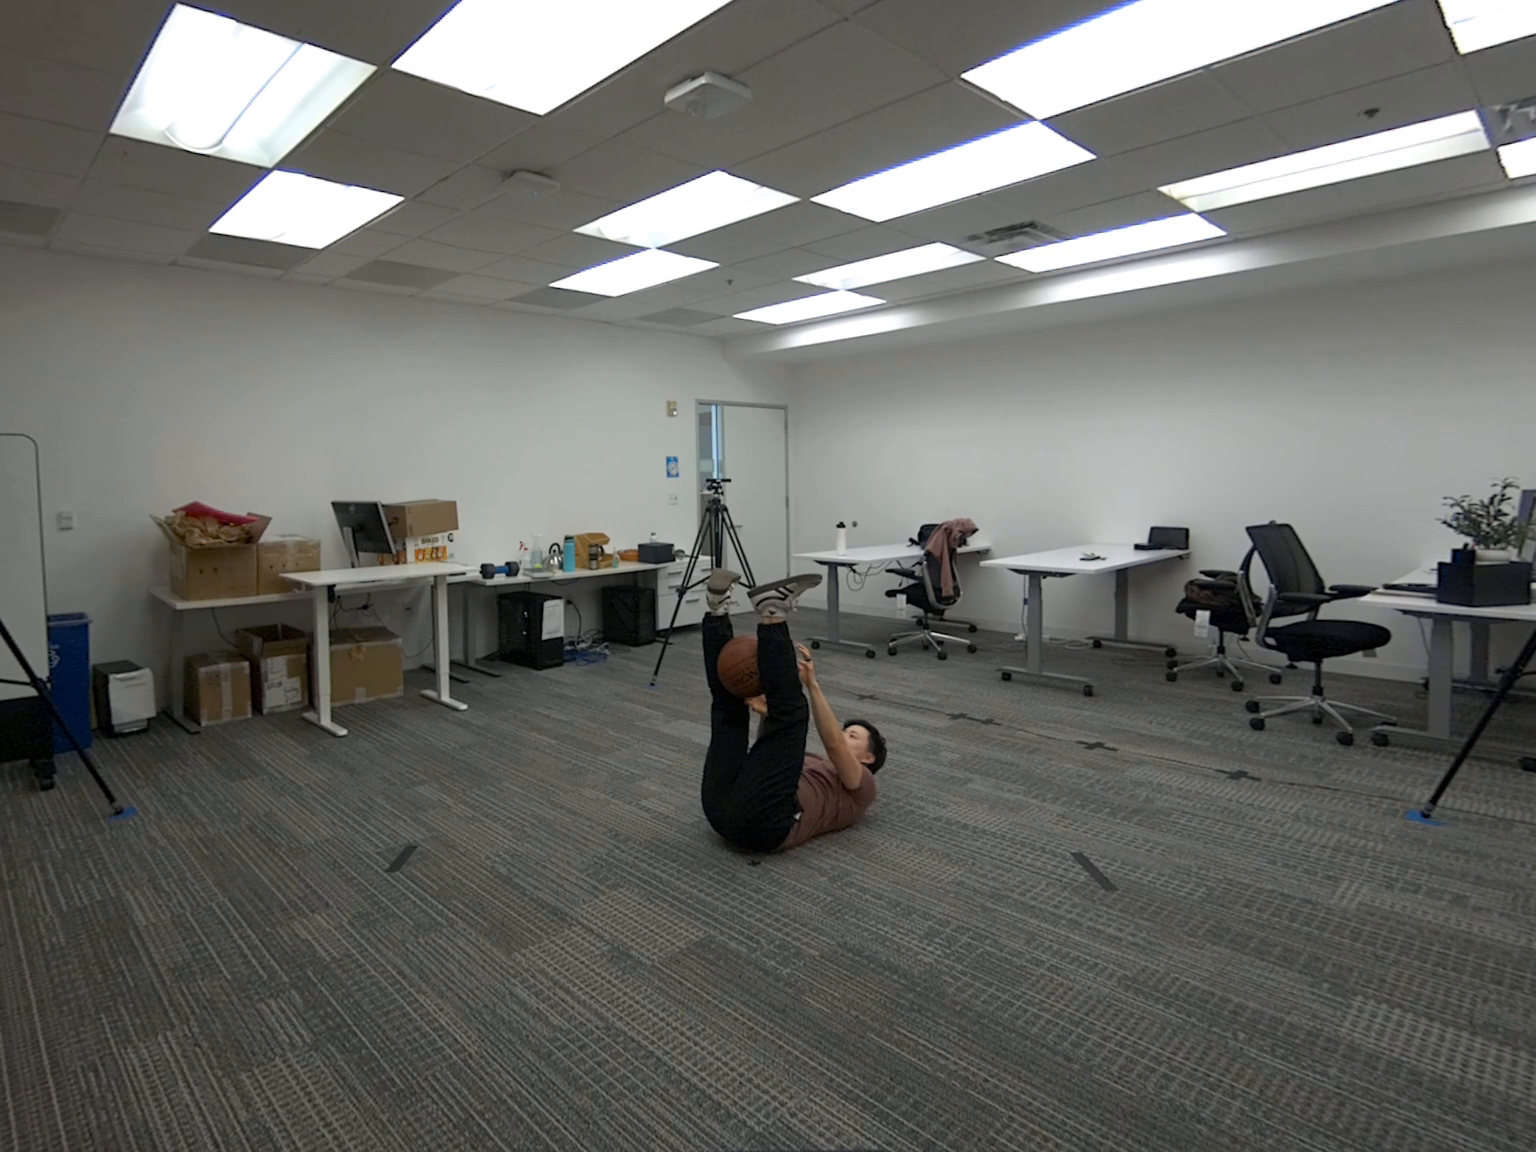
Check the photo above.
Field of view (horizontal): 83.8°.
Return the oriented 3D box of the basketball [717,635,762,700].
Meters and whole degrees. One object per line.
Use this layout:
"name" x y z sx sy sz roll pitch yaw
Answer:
"basketball" -0.071 0.345 3.233 0.236 0.235 0.237 -2 5 -2
